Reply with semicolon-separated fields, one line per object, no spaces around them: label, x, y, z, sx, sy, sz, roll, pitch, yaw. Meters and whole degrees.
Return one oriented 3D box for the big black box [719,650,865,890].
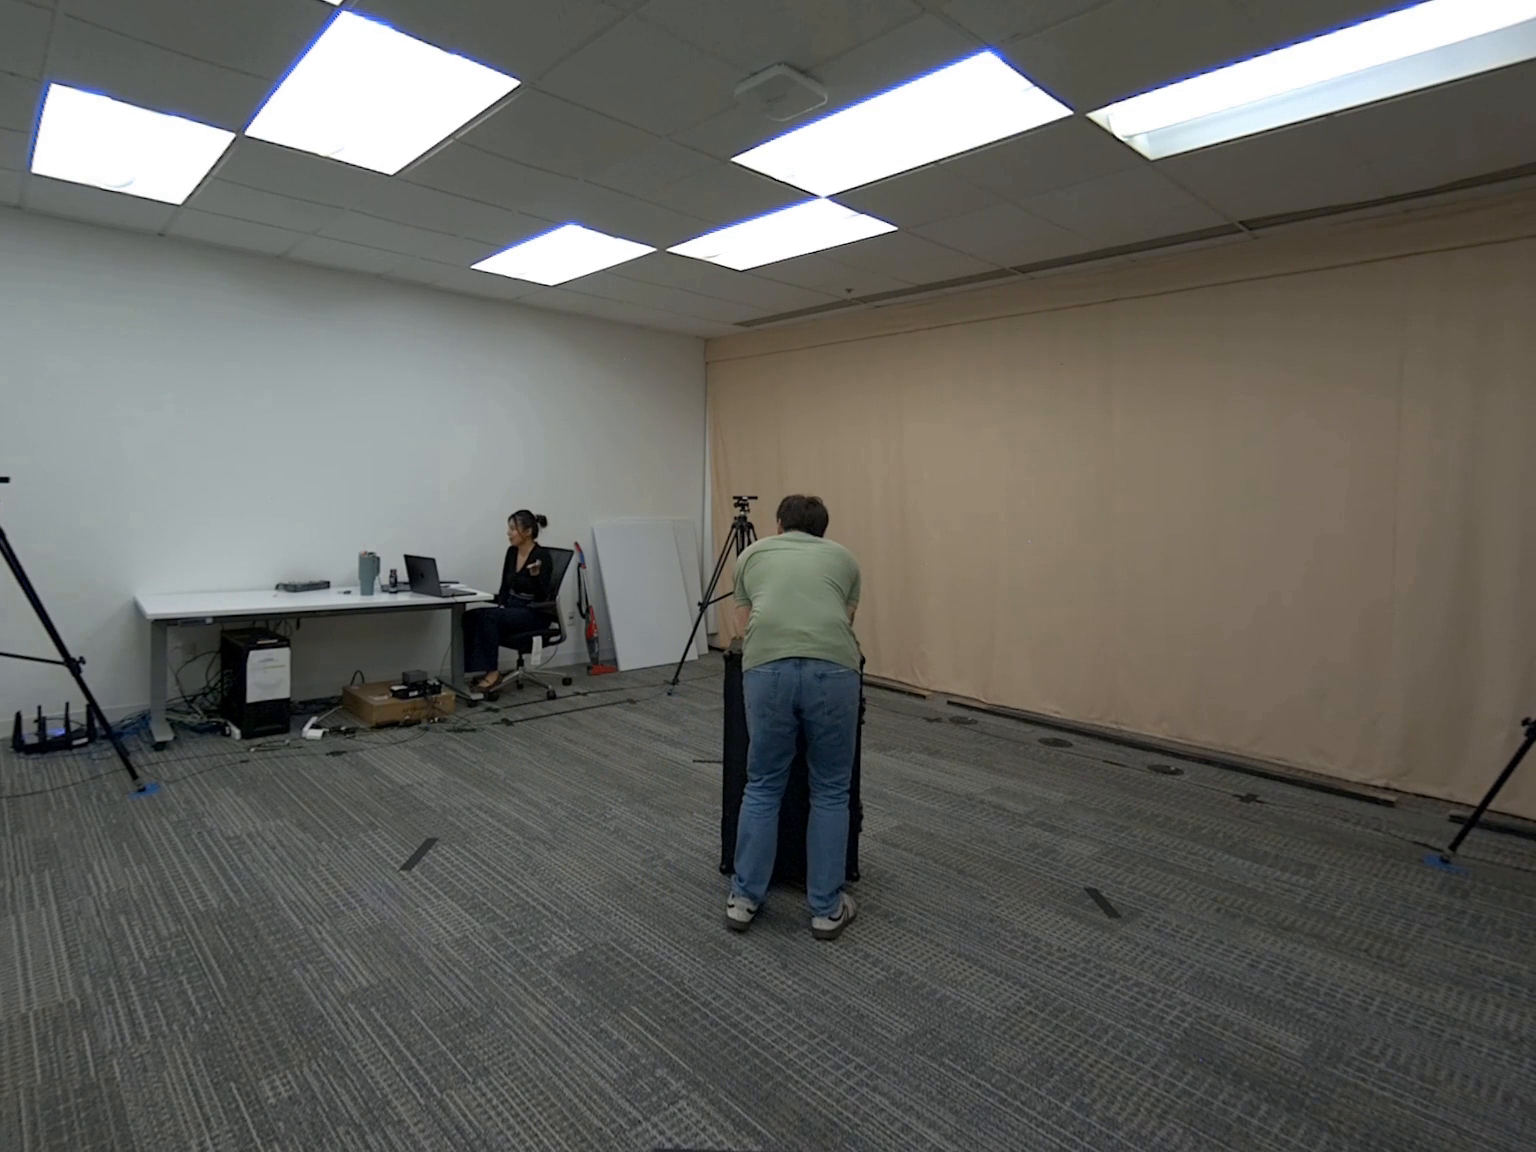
big black box;0.075;0.689;3.114;0.523;0.859;0.396;1;4;3
